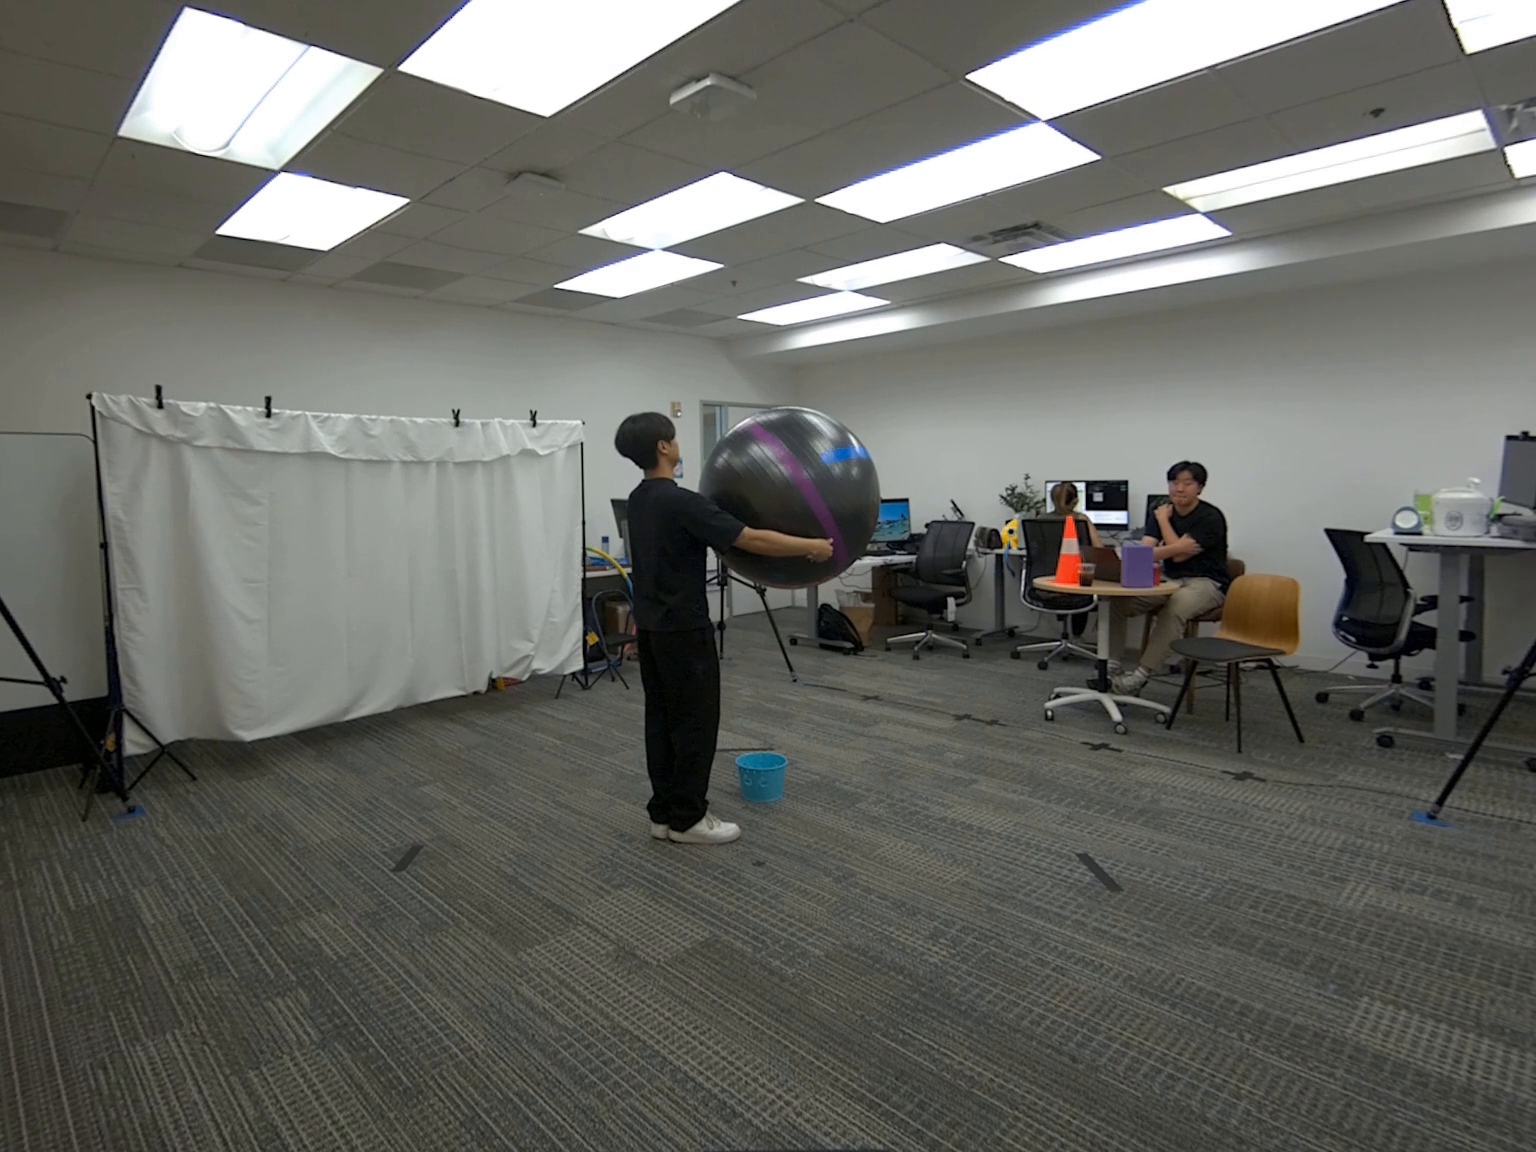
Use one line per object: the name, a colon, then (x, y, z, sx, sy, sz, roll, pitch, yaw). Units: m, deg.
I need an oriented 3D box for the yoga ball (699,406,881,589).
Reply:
yoga ball: (0.089, -0.320, 3.599, 0.757, 0.755, 0.762, -1, 5, -2)
